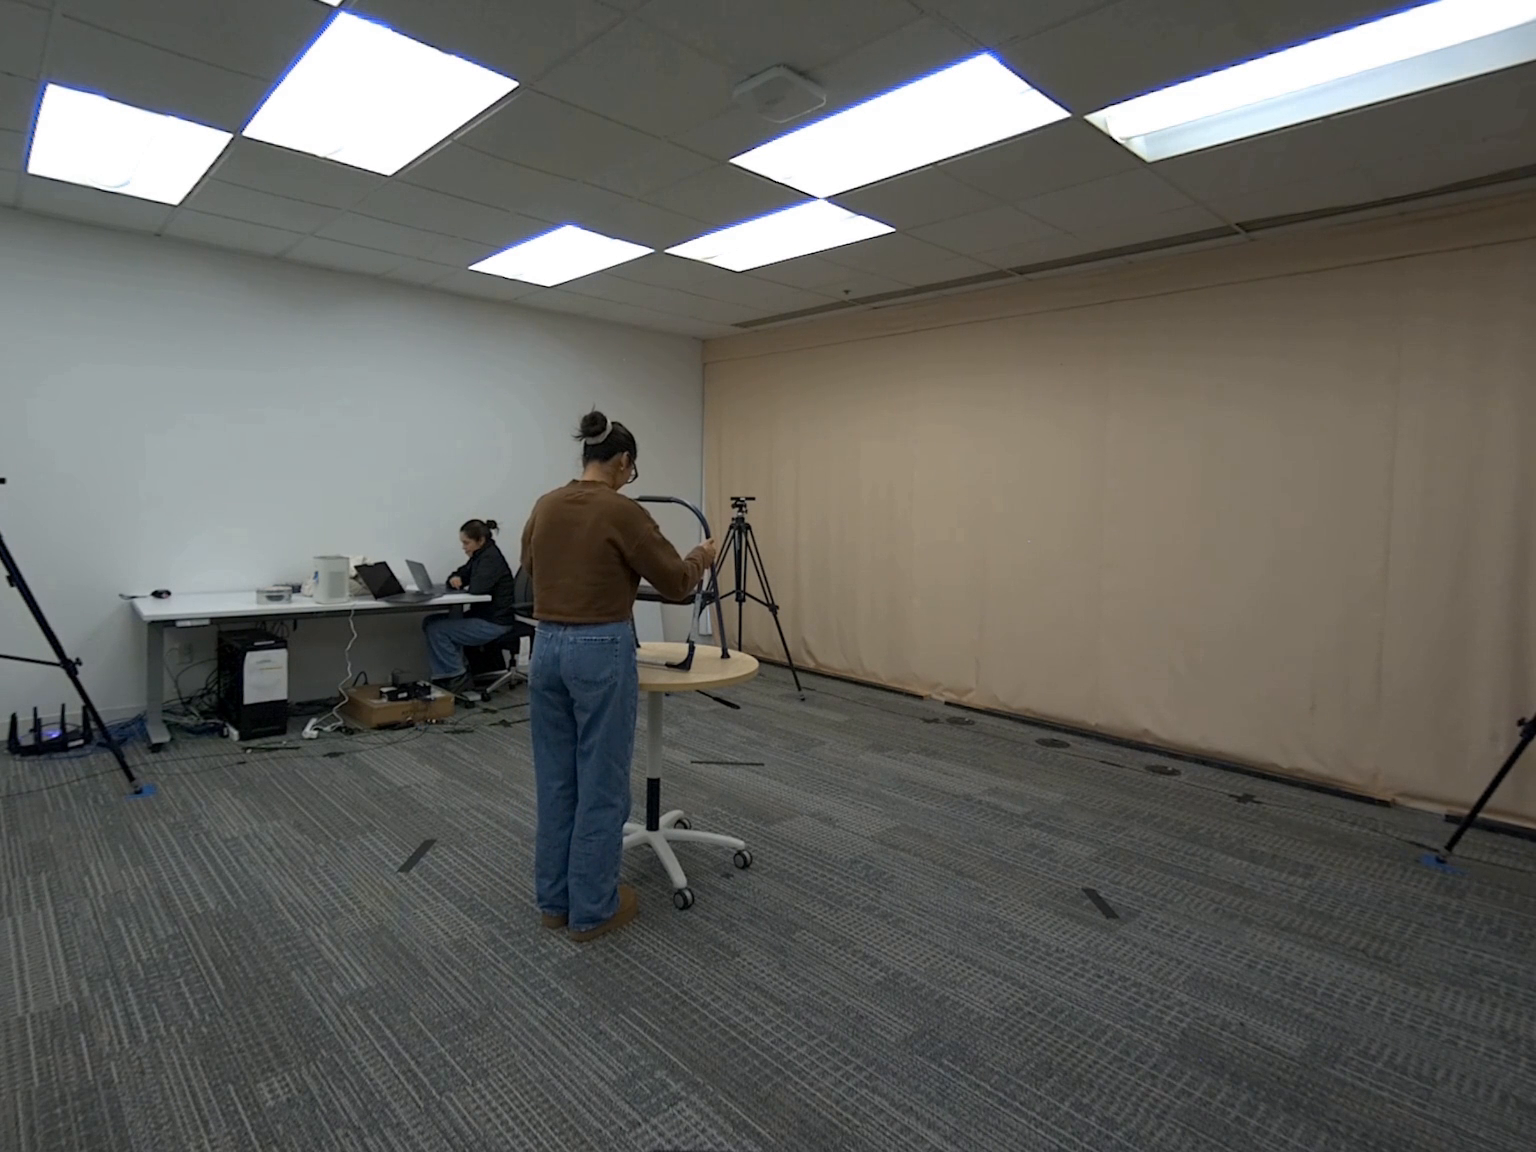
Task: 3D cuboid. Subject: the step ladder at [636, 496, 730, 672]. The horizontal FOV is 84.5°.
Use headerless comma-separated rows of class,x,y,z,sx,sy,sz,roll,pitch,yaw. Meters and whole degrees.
step ladder,-0.399,0.013,3.150,0.439,0.605,0.343,3,3,23
